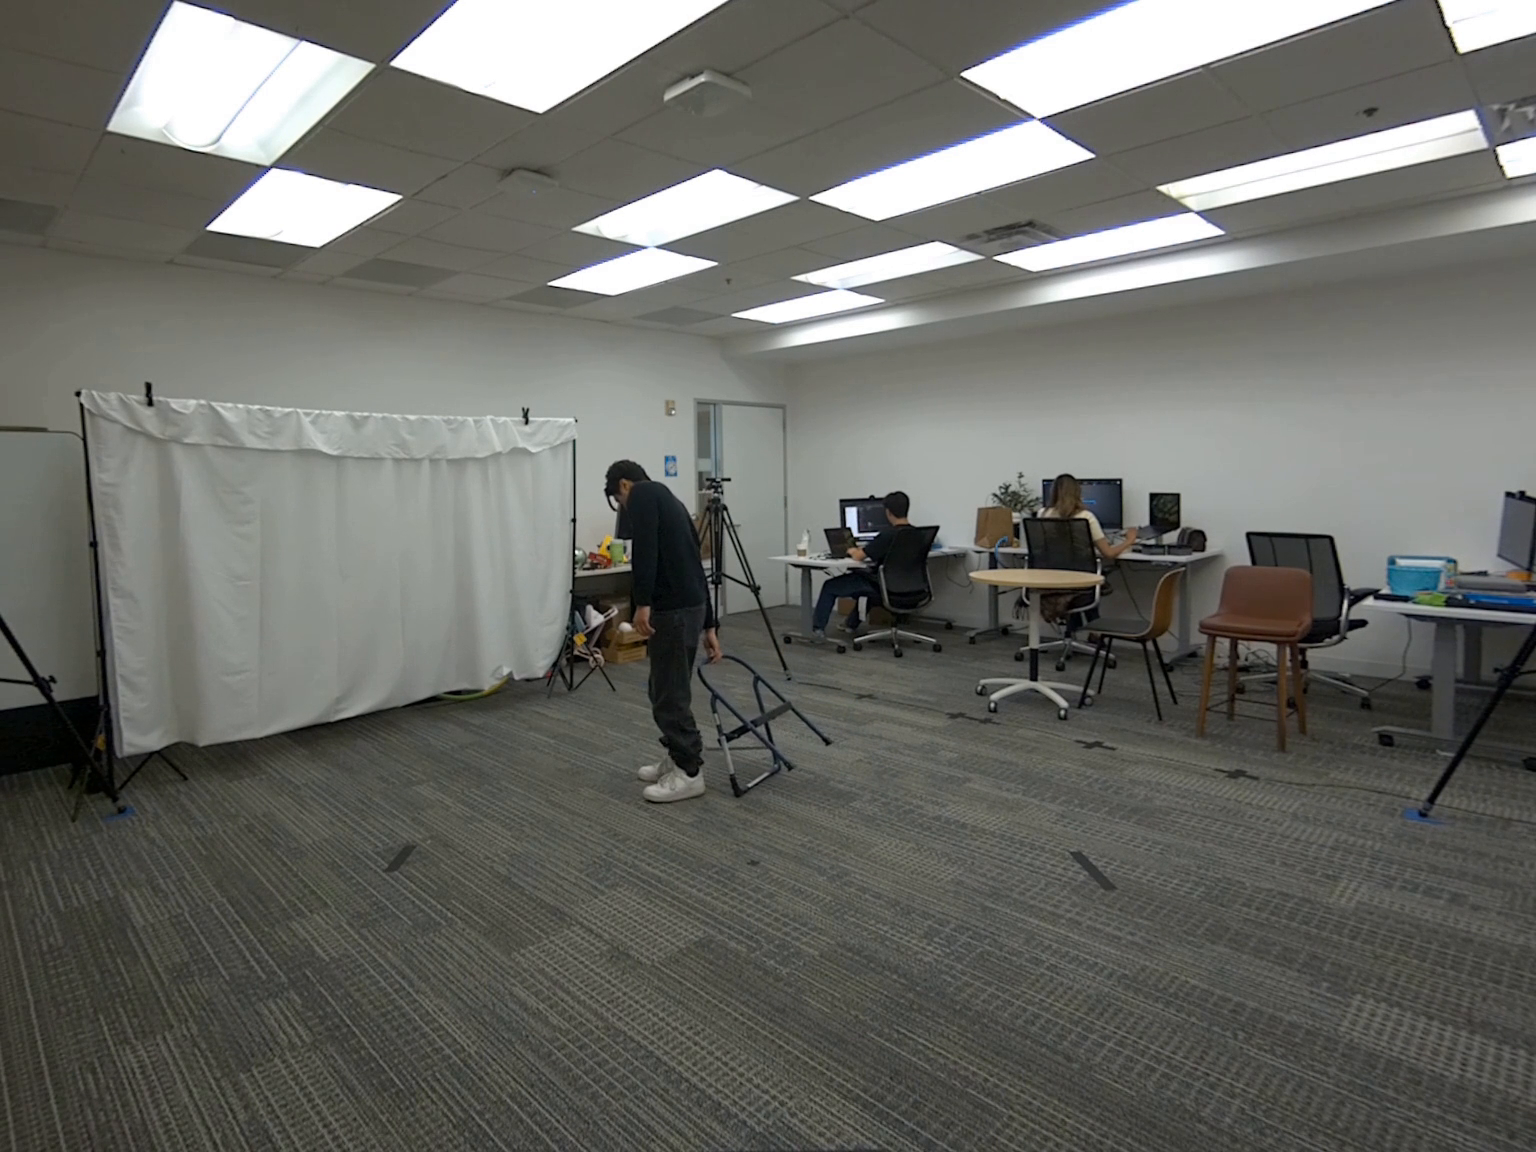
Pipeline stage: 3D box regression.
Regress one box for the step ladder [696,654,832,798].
[{"bbox_3d":[-0.067,0.607,3.915,0.351,0.616,0.421,-35,-13,26],"label":"step ladder"}]
